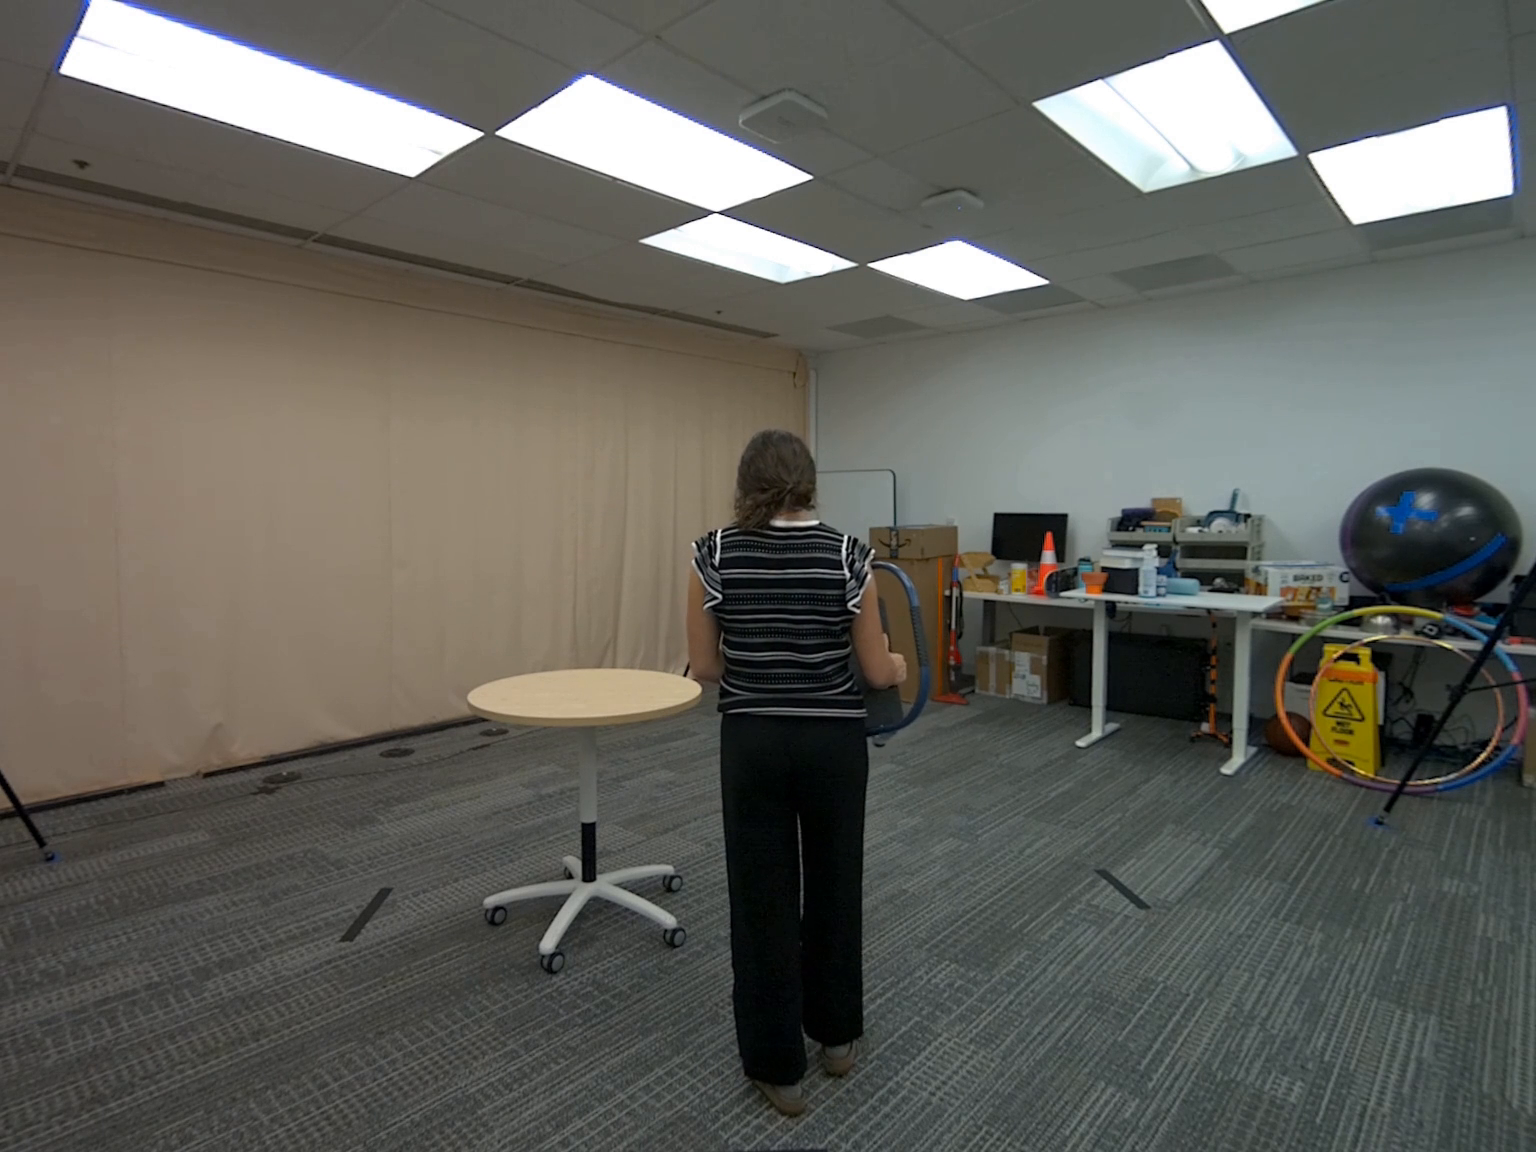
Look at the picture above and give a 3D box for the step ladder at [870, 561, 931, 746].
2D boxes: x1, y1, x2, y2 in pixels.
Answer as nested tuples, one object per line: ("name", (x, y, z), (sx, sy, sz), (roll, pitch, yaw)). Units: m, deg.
("step ladder", (0.207, 0.220, 2.159), (0.344, 0.436, 0.607), (-3, -16, -15))
